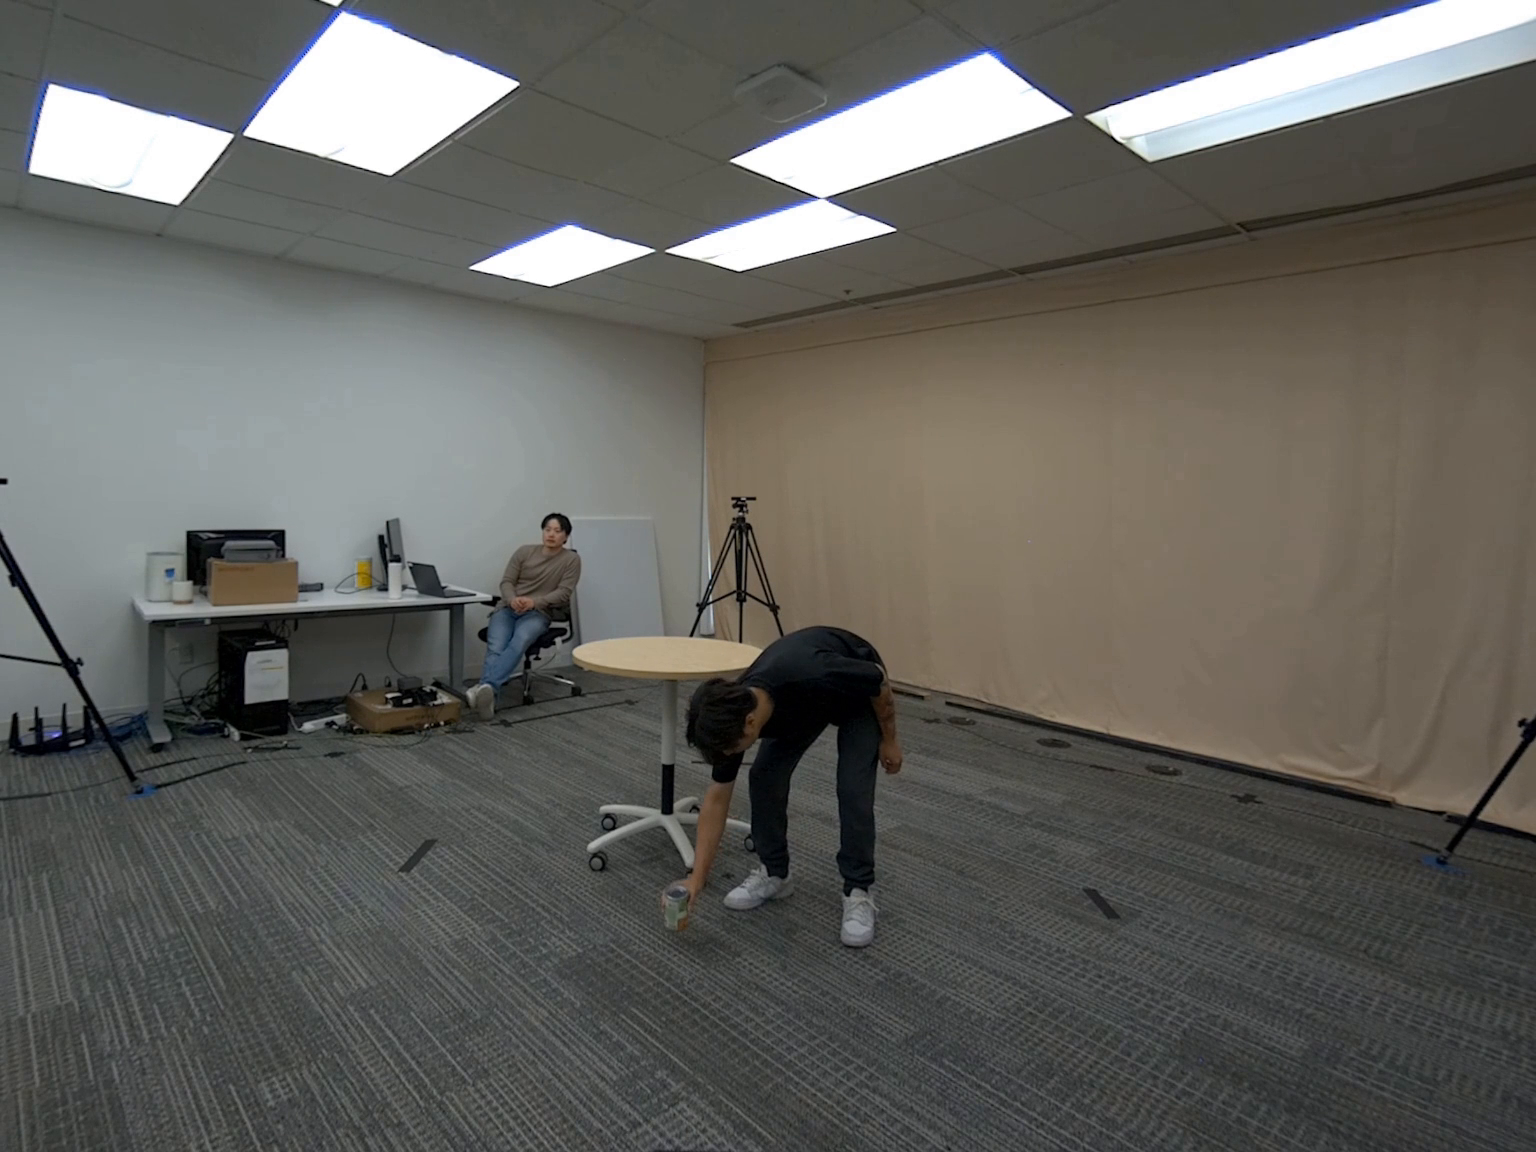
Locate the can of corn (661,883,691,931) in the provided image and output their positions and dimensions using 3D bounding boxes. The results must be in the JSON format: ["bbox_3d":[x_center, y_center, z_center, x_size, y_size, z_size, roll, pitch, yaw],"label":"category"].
[{"bbox_3d":[-0.292,1.027,2.579,0.074,0.110,0.075,4,12,-2],"label":"can of corn"}]
